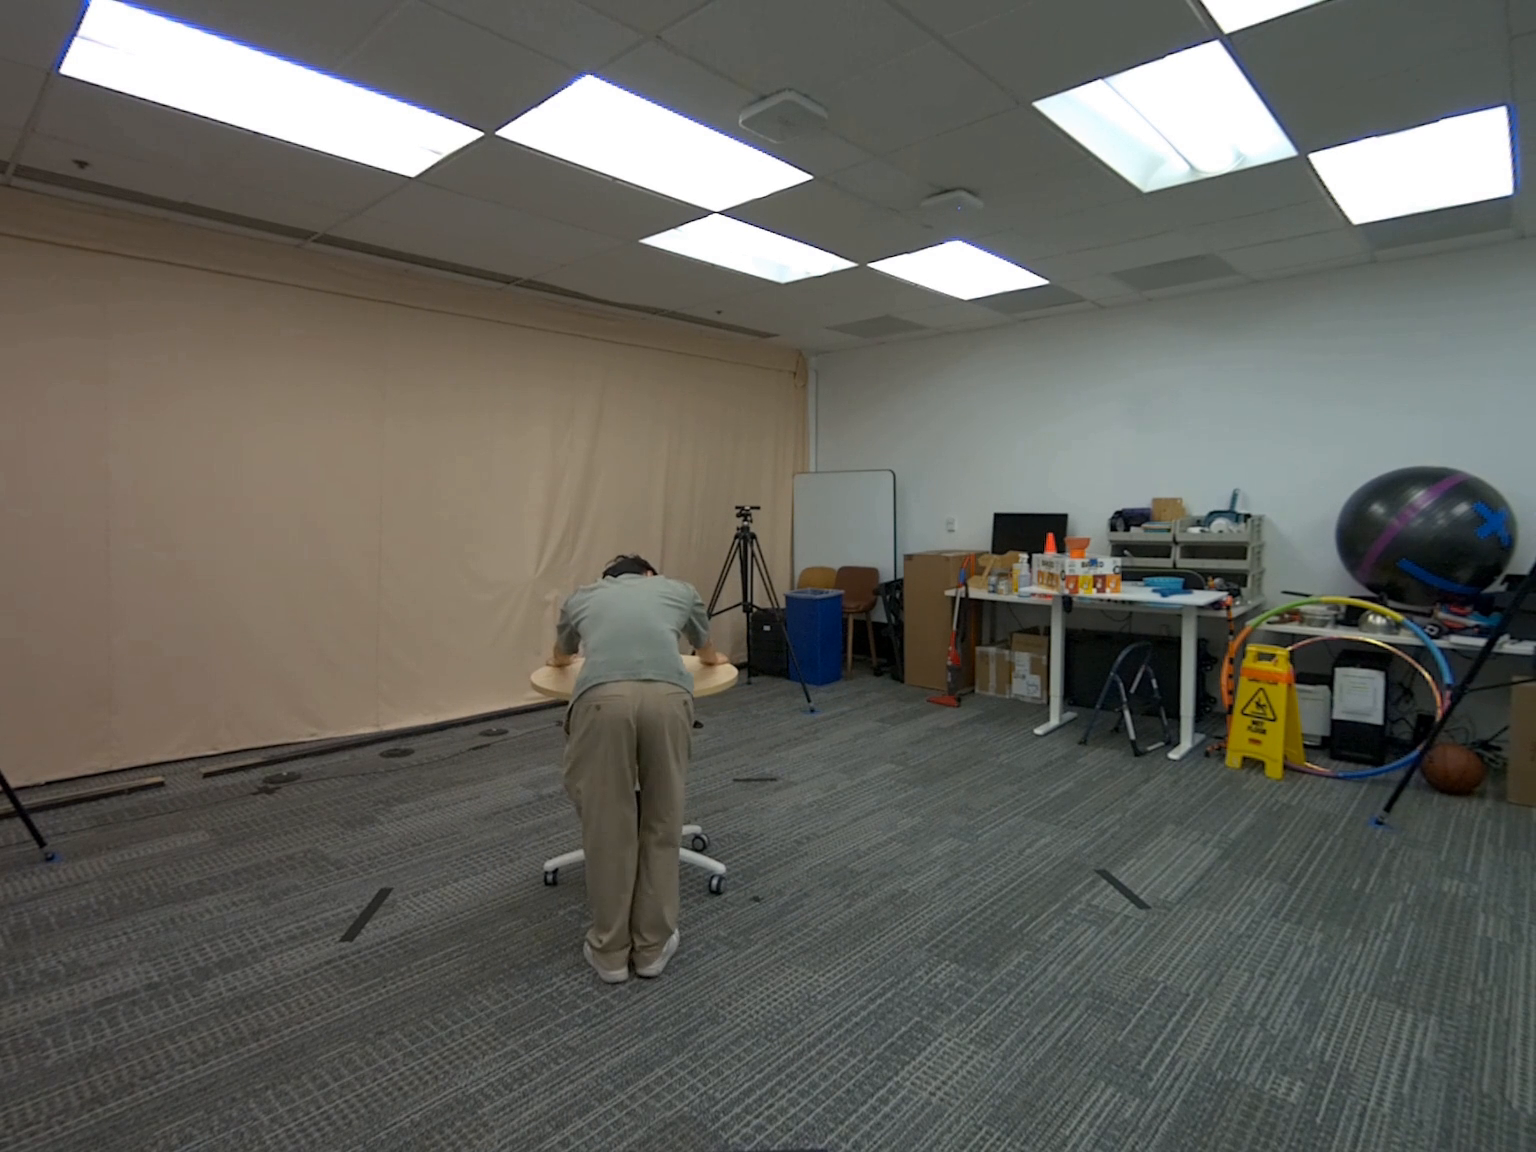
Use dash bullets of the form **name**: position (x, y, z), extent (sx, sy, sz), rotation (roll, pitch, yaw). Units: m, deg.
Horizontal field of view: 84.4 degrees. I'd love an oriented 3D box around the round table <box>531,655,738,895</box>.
- **round table**: position (-0.505, 0.744, 3.156), extent (0.784, 0.785, 0.788), rotation (0, 4, -2)
